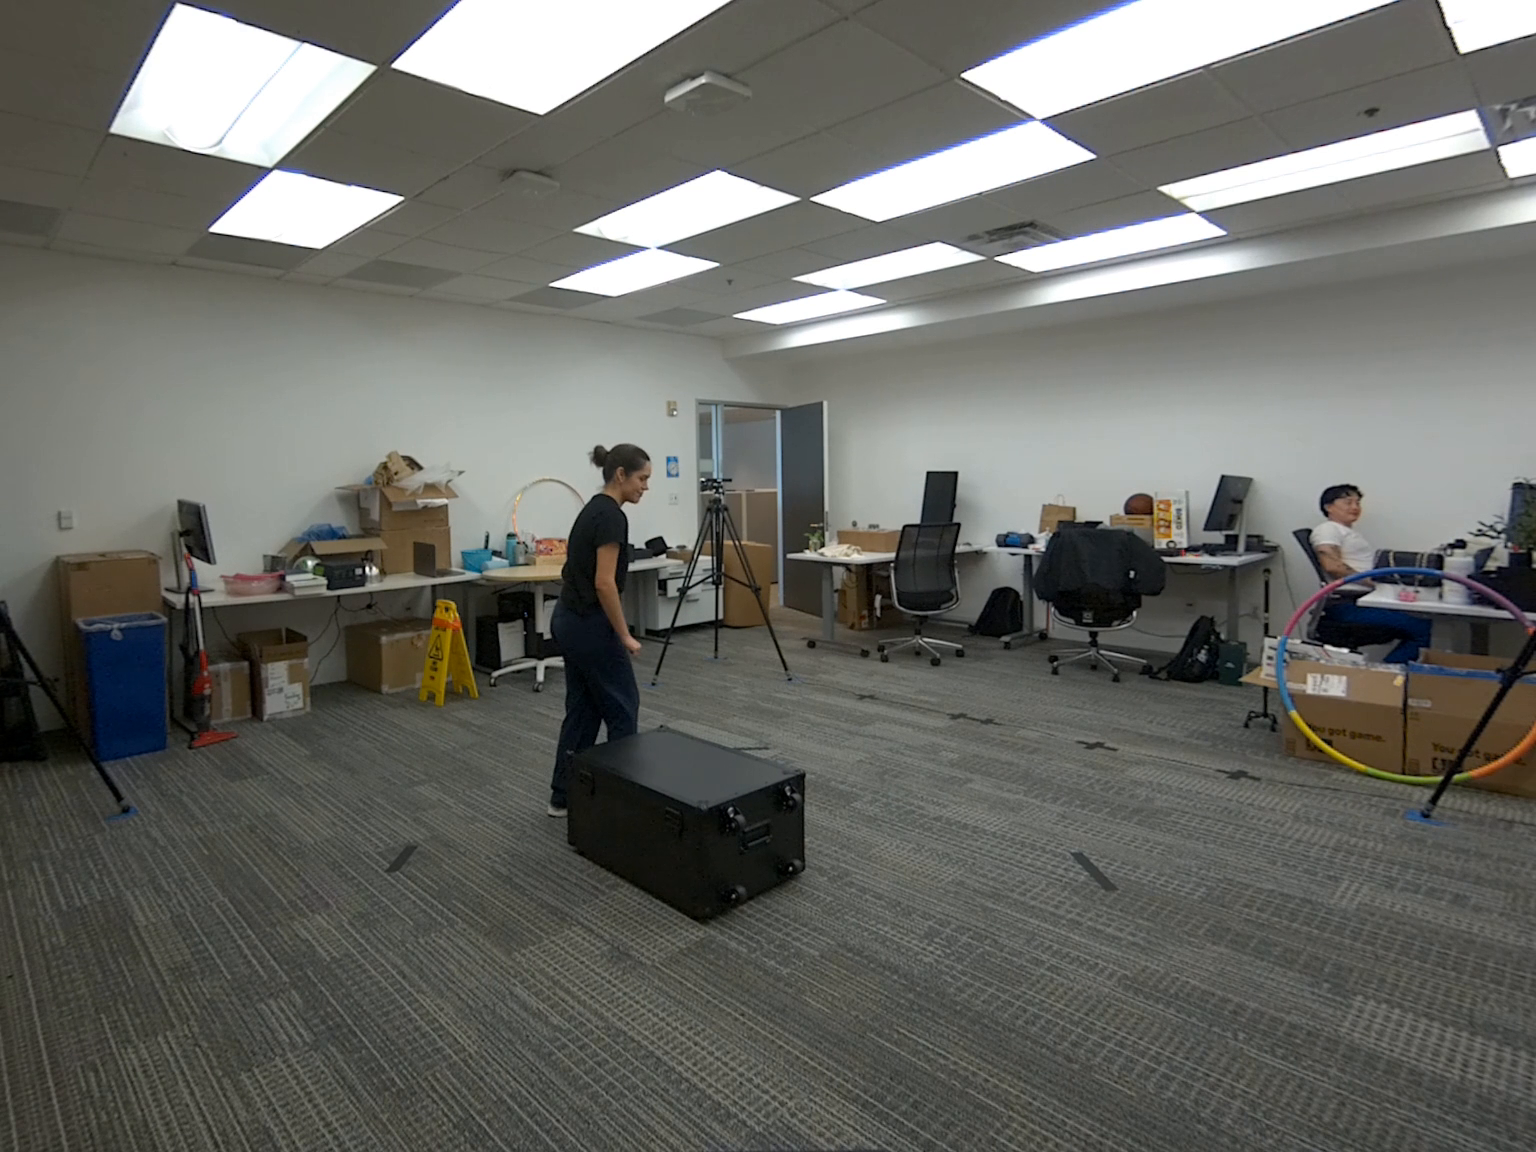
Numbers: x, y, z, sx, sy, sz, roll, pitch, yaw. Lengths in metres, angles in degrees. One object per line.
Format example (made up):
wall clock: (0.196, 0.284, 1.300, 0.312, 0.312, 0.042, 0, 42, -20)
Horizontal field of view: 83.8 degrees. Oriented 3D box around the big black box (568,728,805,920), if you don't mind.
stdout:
big black box: (-0.296, 0.862, 3.090, 0.508, 0.395, 0.888, -7, 7, -44)
